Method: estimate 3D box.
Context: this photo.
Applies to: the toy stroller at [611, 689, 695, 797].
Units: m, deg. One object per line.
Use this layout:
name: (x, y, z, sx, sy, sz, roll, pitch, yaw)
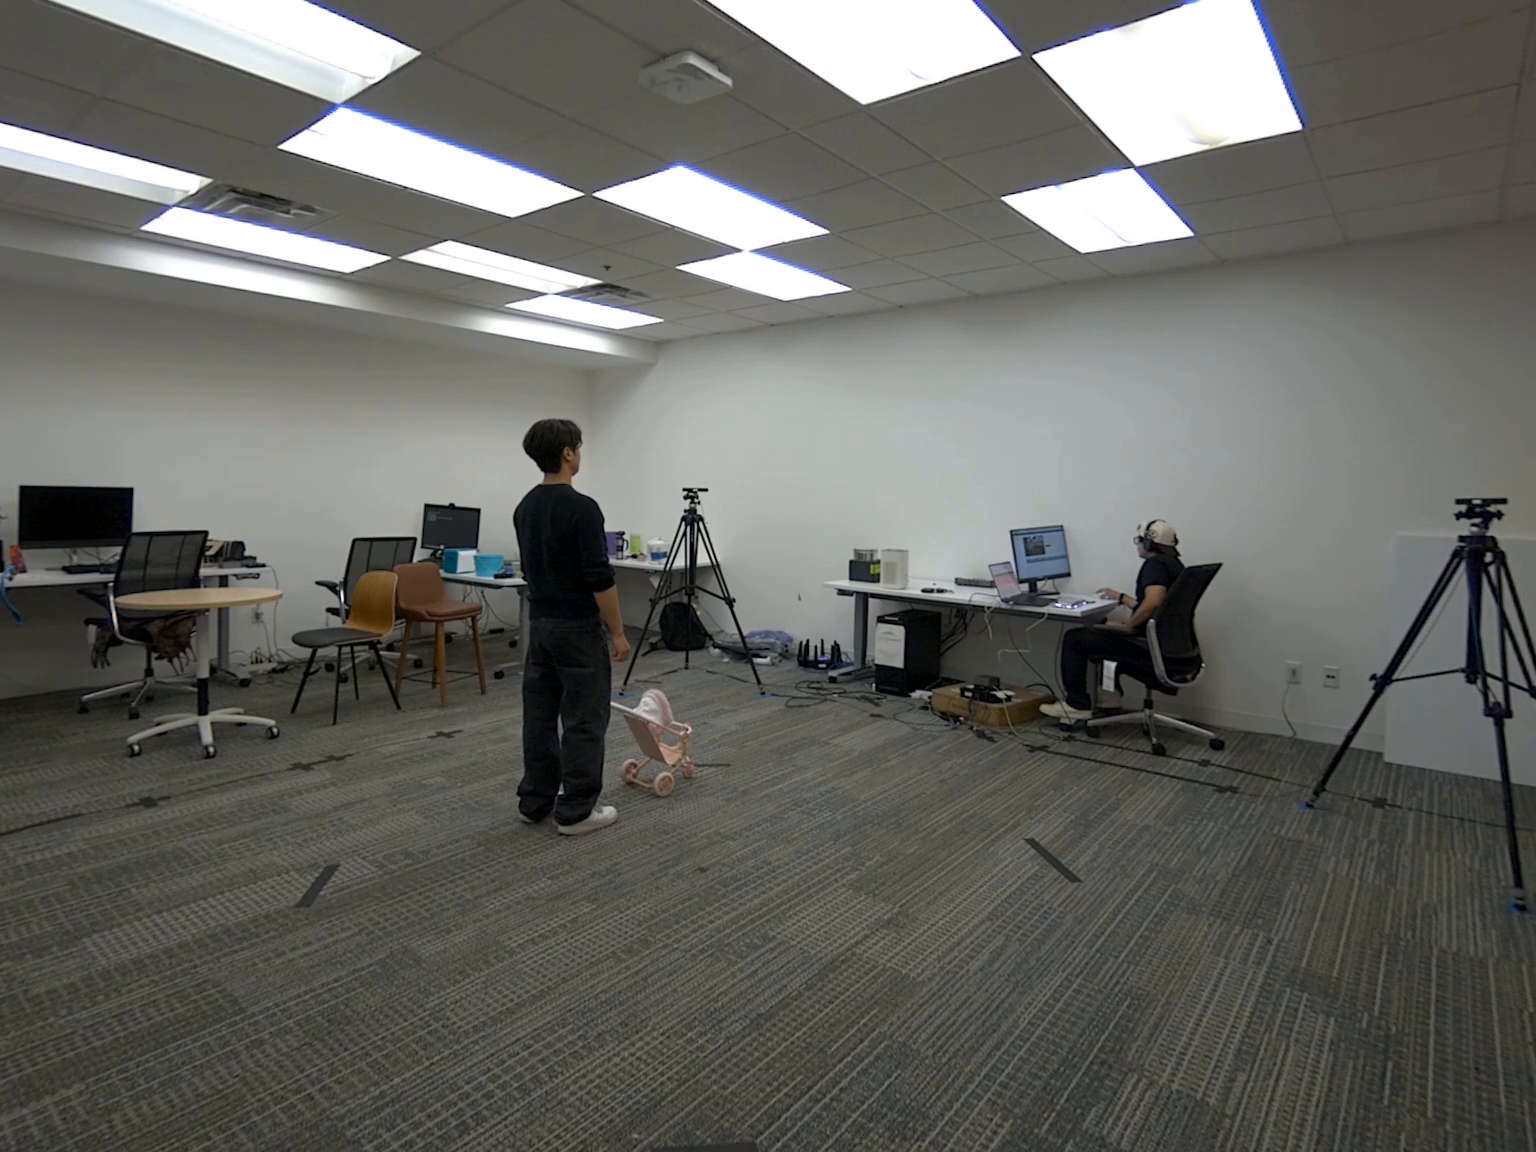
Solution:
toy stroller: (-0.529, 0.759, 3.965, 0.336, 0.526, 0.291, -25, 18, -36)
